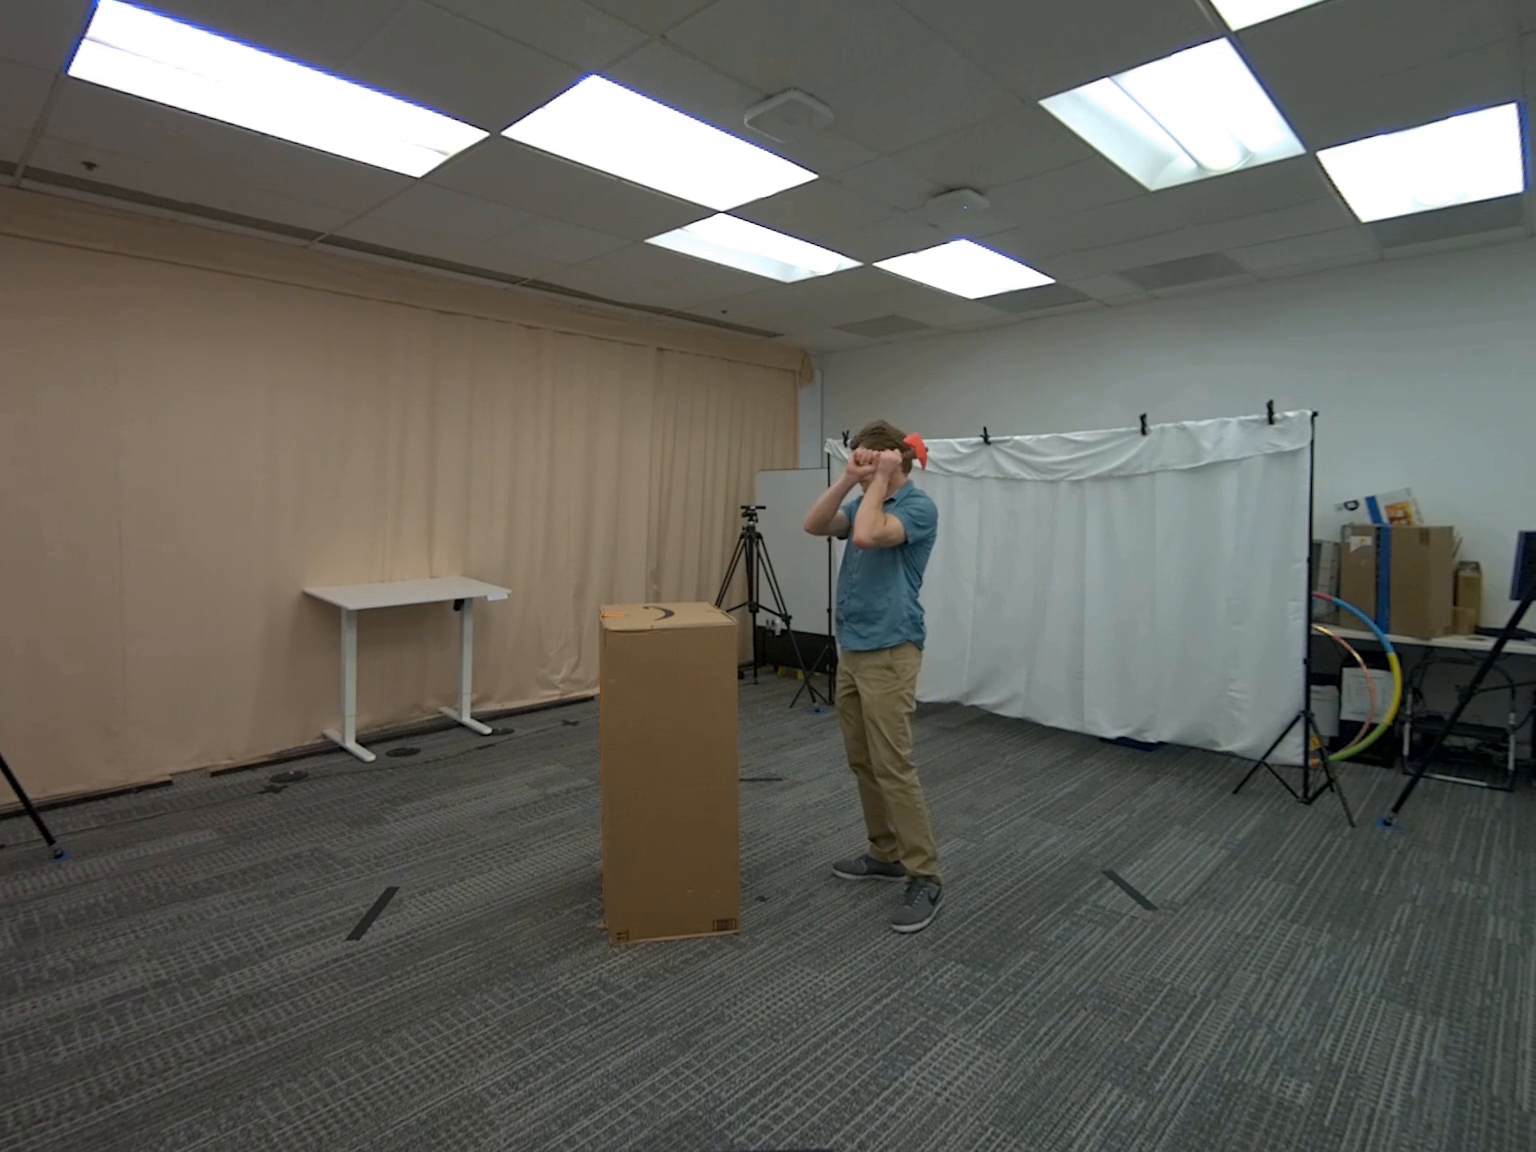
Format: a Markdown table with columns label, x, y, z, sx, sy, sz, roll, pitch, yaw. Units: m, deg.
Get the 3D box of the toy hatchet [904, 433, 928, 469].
| label | x | y | z | sx | sy | sz | roll | pitch | yaw |
| --- | --- | --- | --- | --- | --- | --- | --- | --- | --- |
| toy hatchet | 0.431 | -0.455 | 2.981 | 0.269 | 0.130 | 0.030 | 9 | 11 | -4 |
